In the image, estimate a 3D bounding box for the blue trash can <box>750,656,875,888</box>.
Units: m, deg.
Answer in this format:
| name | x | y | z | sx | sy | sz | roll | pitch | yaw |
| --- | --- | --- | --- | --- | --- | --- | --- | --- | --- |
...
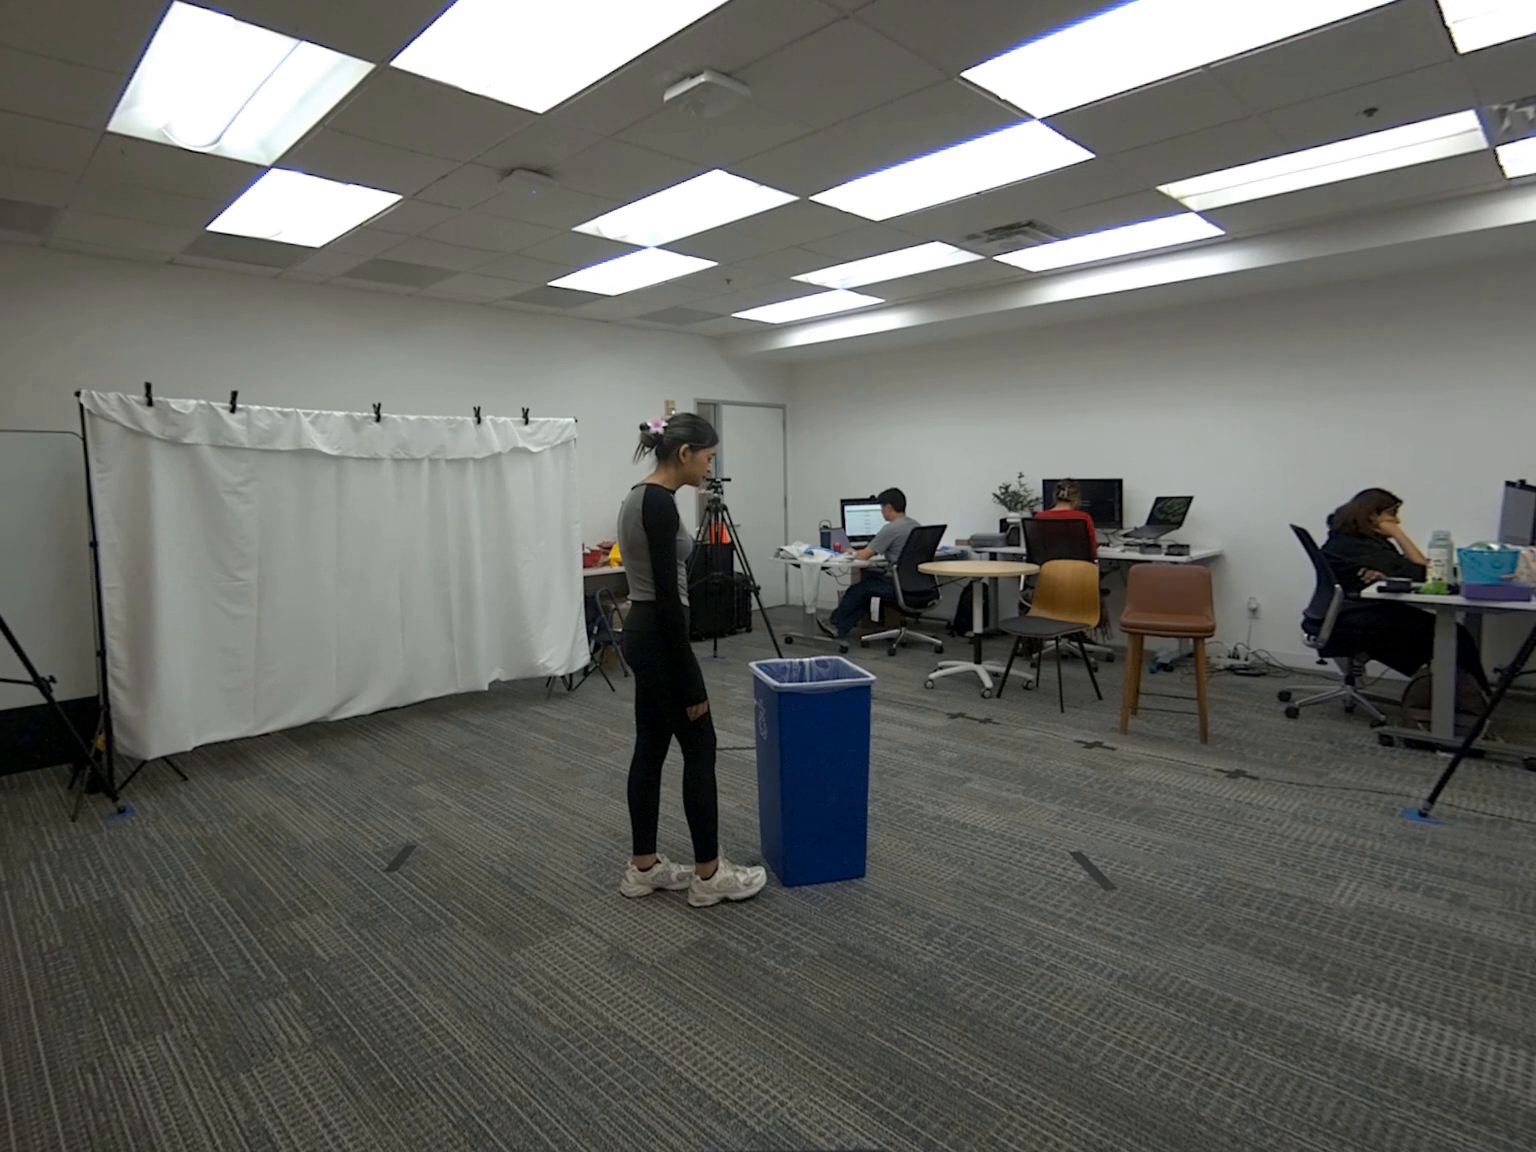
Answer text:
| name | x | y | z | sx | sy | sz | roll | pitch | yaw |
| --- | --- | --- | --- | --- | --- | --- | --- | --- | --- |
| blue trash can | 0.160 | 0.686 | 3.061 | 0.373 | 0.711 | 0.380 | -3 | 4 | -15 |
